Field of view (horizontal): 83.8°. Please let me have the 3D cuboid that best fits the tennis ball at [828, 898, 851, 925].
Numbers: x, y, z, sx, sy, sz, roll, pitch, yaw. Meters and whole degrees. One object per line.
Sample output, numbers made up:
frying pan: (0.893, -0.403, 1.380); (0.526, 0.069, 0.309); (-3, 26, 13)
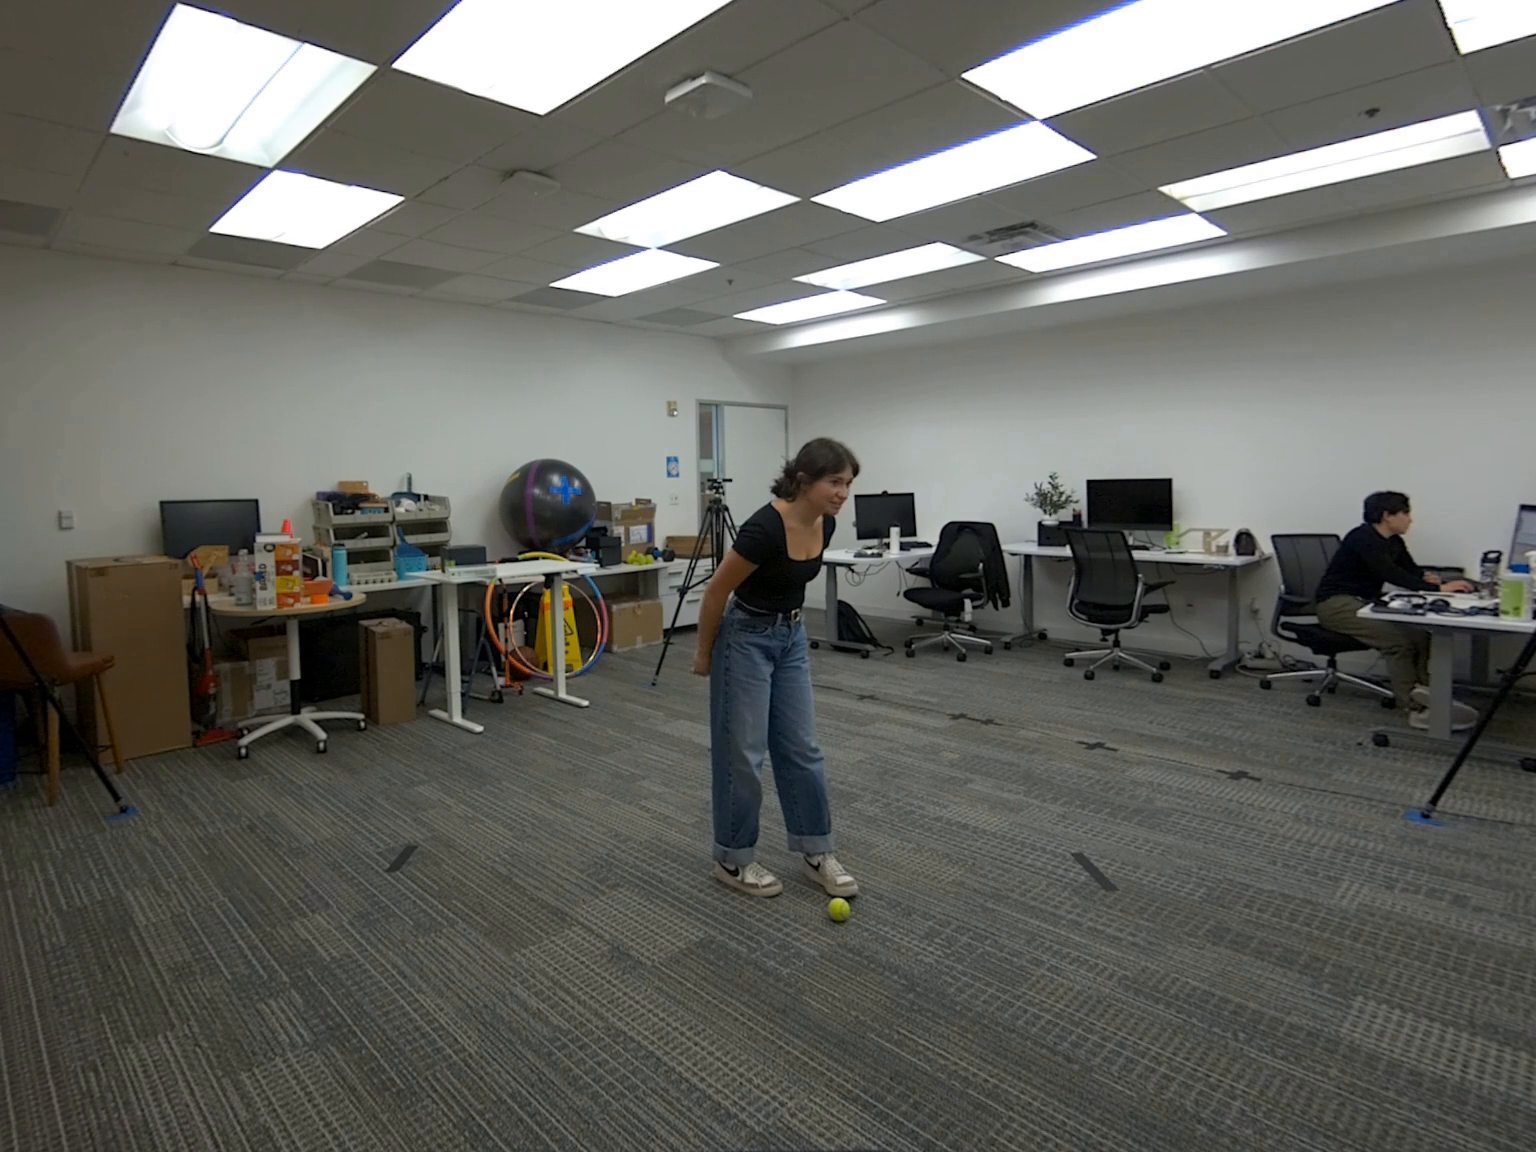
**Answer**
tennis ball: (0.233, 1.042, 2.693); (0.066, 0.066, 0.067); (-1, 5, -2)
